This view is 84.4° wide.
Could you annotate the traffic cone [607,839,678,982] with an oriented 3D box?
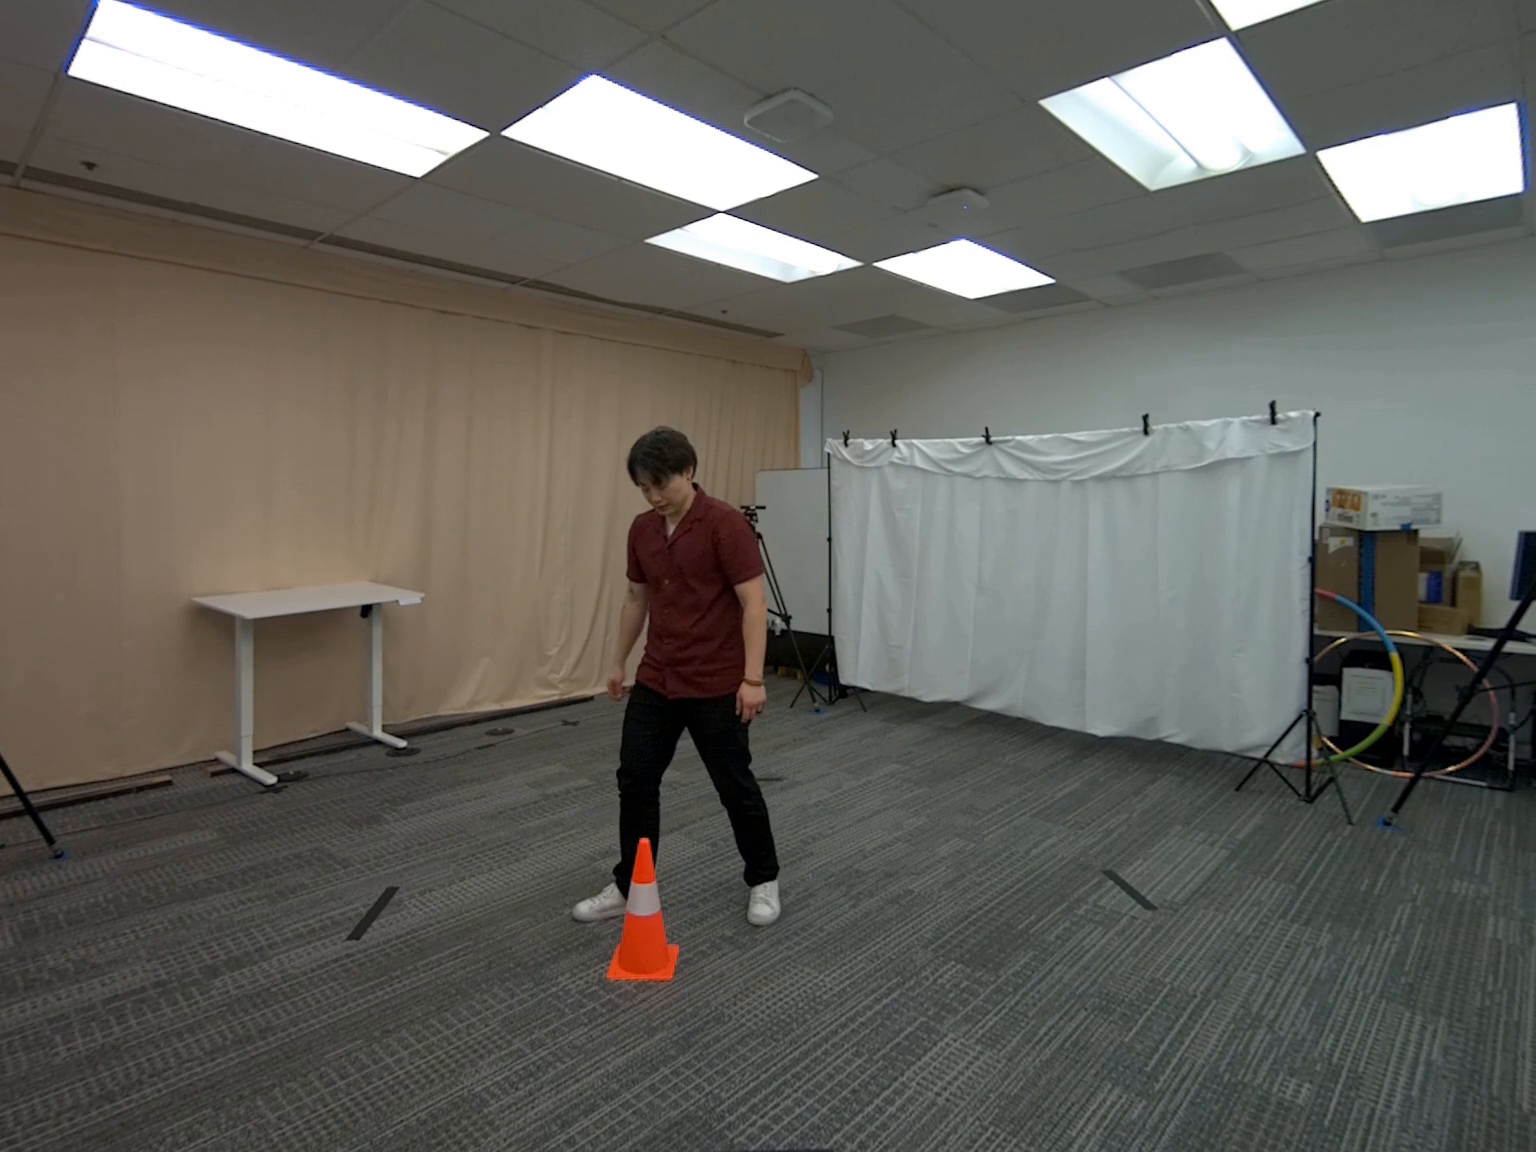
[{"bbox_3d":[-0.376,0.996,2.560,0.204,0.383,0.205,0,4,2],"label":"traffic cone"}]
